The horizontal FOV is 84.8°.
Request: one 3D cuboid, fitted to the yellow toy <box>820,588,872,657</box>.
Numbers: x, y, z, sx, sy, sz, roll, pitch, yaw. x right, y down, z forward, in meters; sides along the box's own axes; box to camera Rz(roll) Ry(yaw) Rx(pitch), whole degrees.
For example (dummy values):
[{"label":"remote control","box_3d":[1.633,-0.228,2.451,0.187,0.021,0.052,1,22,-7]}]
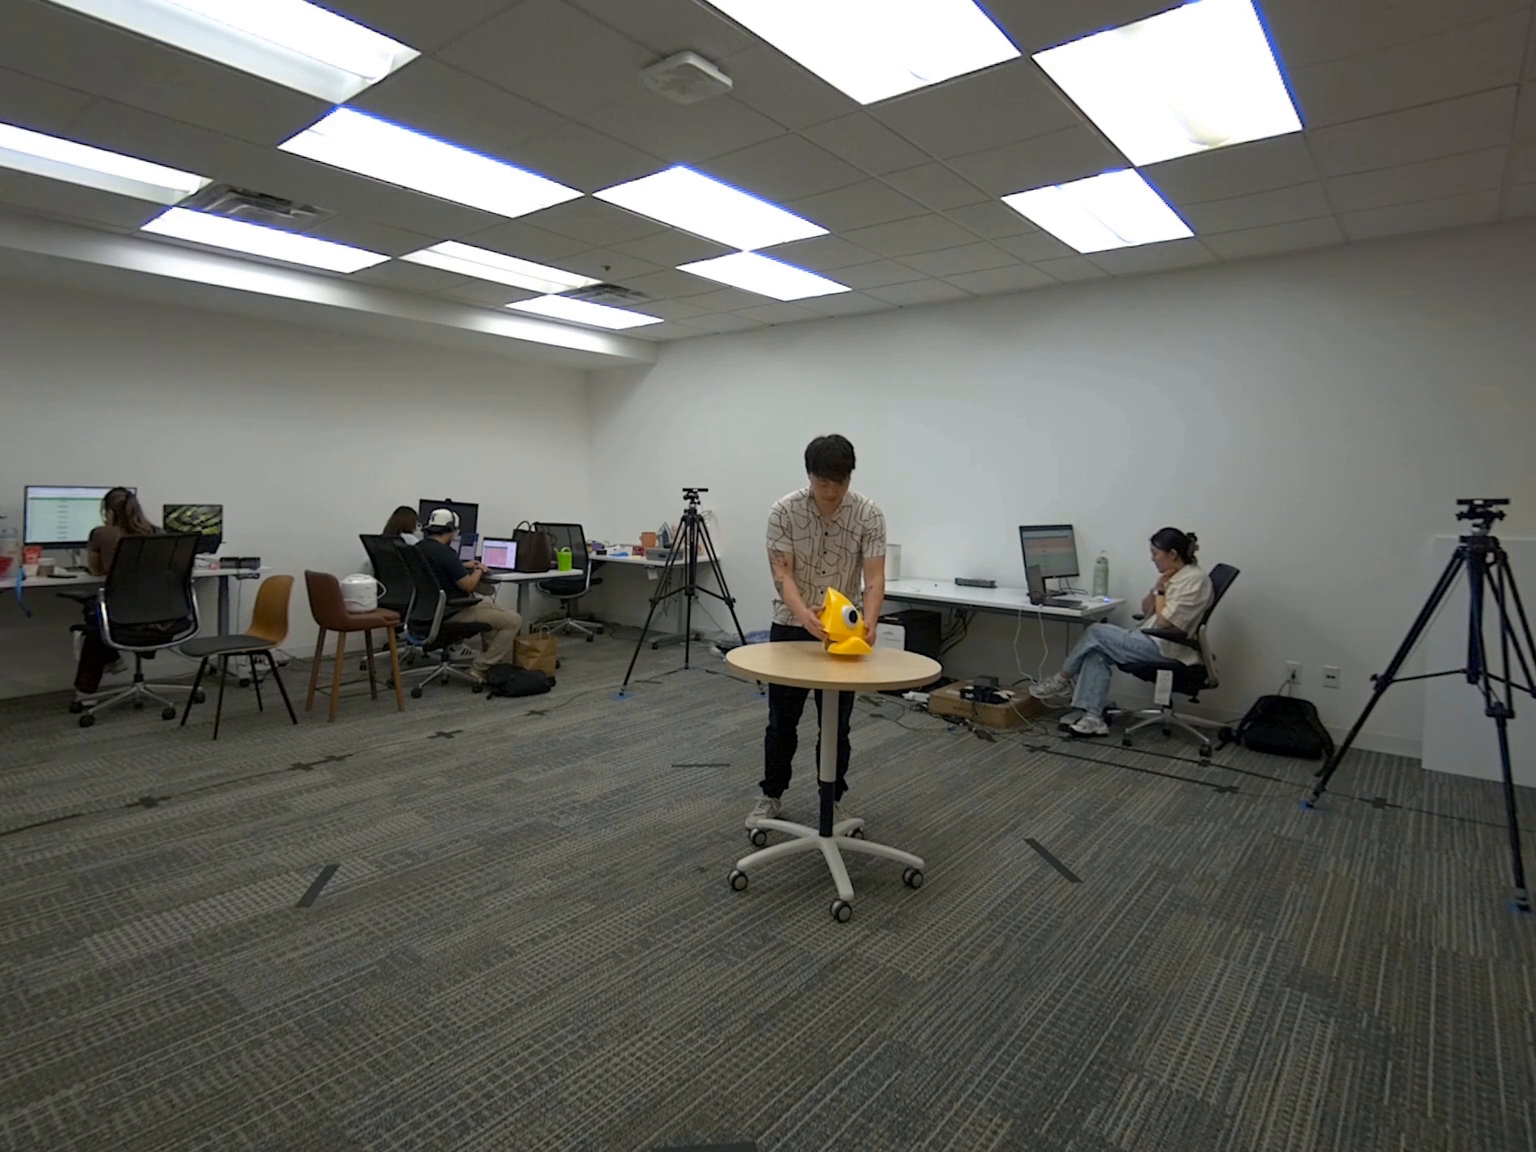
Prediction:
[{"label":"yellow toy","box_3d":[0.275,0.152,3.120,0.191,0.230,0.207,0,2,-10]}]
